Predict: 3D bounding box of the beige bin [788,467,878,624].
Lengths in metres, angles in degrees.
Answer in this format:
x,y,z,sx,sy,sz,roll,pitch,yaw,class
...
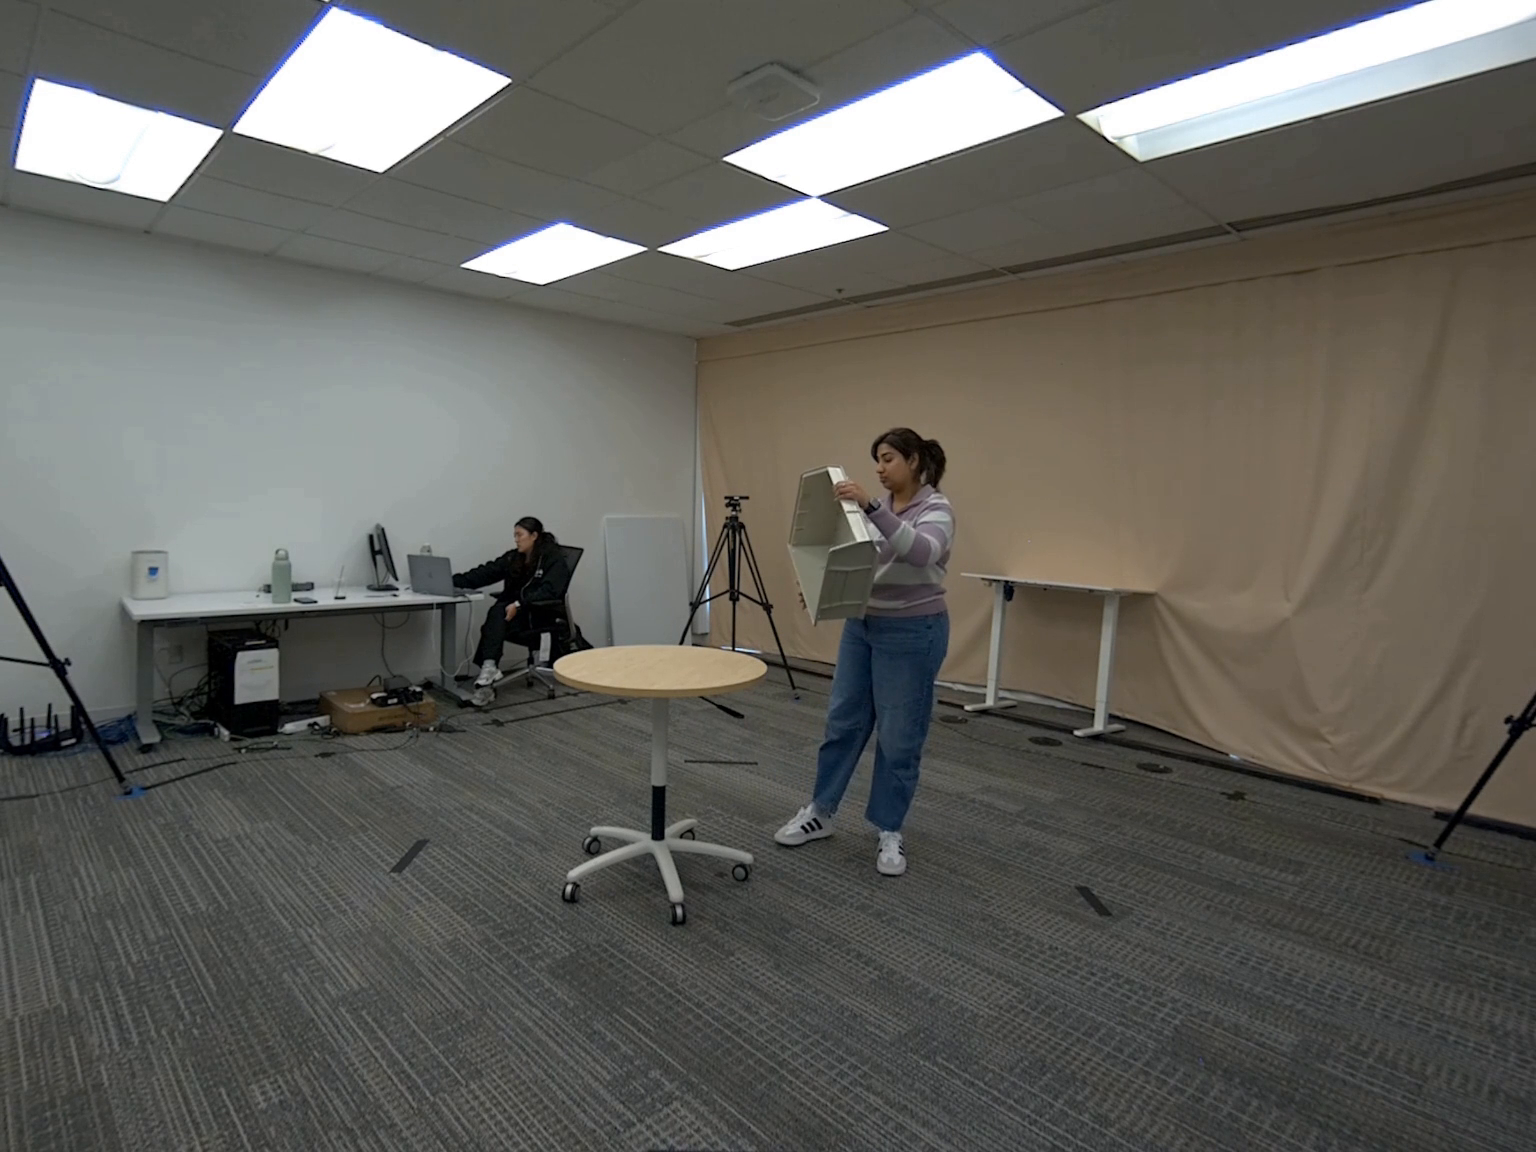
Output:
x,y,z,sx,sy,sz,roll,pitch,yaw,class
0.213,-0.111,2.940,0.187,0.370,0.434,-4,43,-13,beige bin
